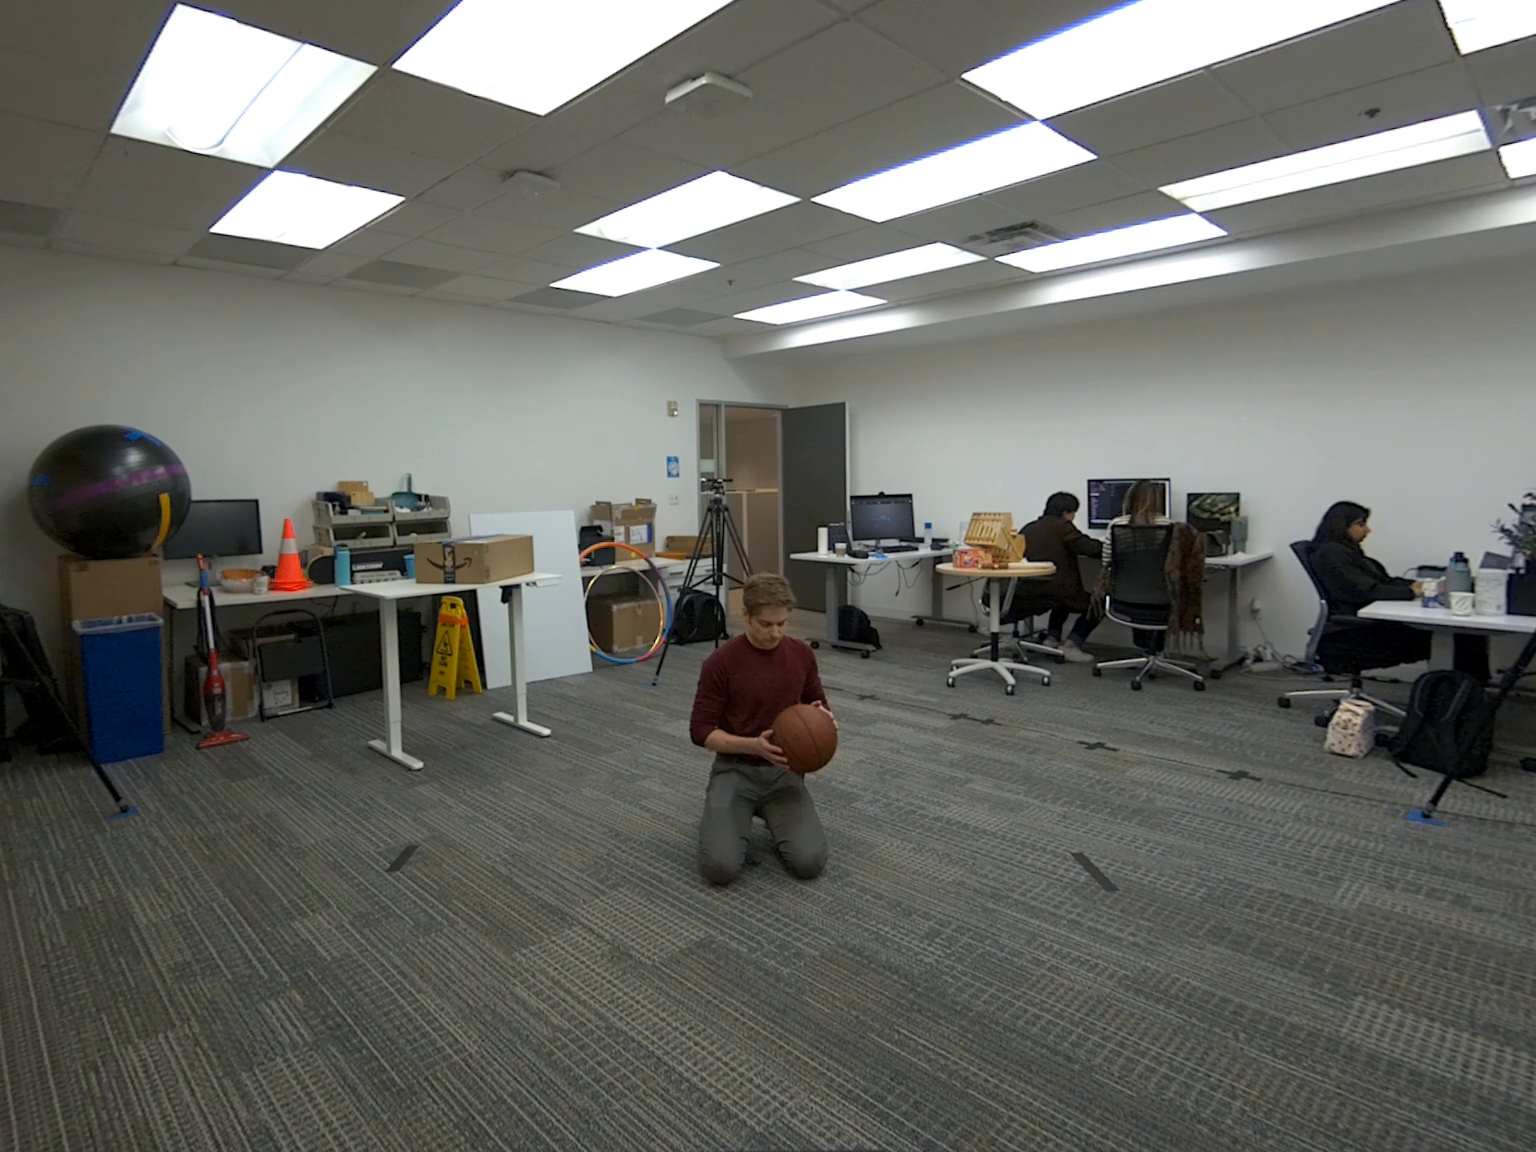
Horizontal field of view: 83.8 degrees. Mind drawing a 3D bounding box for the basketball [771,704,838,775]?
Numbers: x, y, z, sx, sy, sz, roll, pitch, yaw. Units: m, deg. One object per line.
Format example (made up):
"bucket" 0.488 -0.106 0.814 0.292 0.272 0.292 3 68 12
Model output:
"basketball" 0.127 0.577 3.047 0.236 0.235 0.237 -1 5 -2
